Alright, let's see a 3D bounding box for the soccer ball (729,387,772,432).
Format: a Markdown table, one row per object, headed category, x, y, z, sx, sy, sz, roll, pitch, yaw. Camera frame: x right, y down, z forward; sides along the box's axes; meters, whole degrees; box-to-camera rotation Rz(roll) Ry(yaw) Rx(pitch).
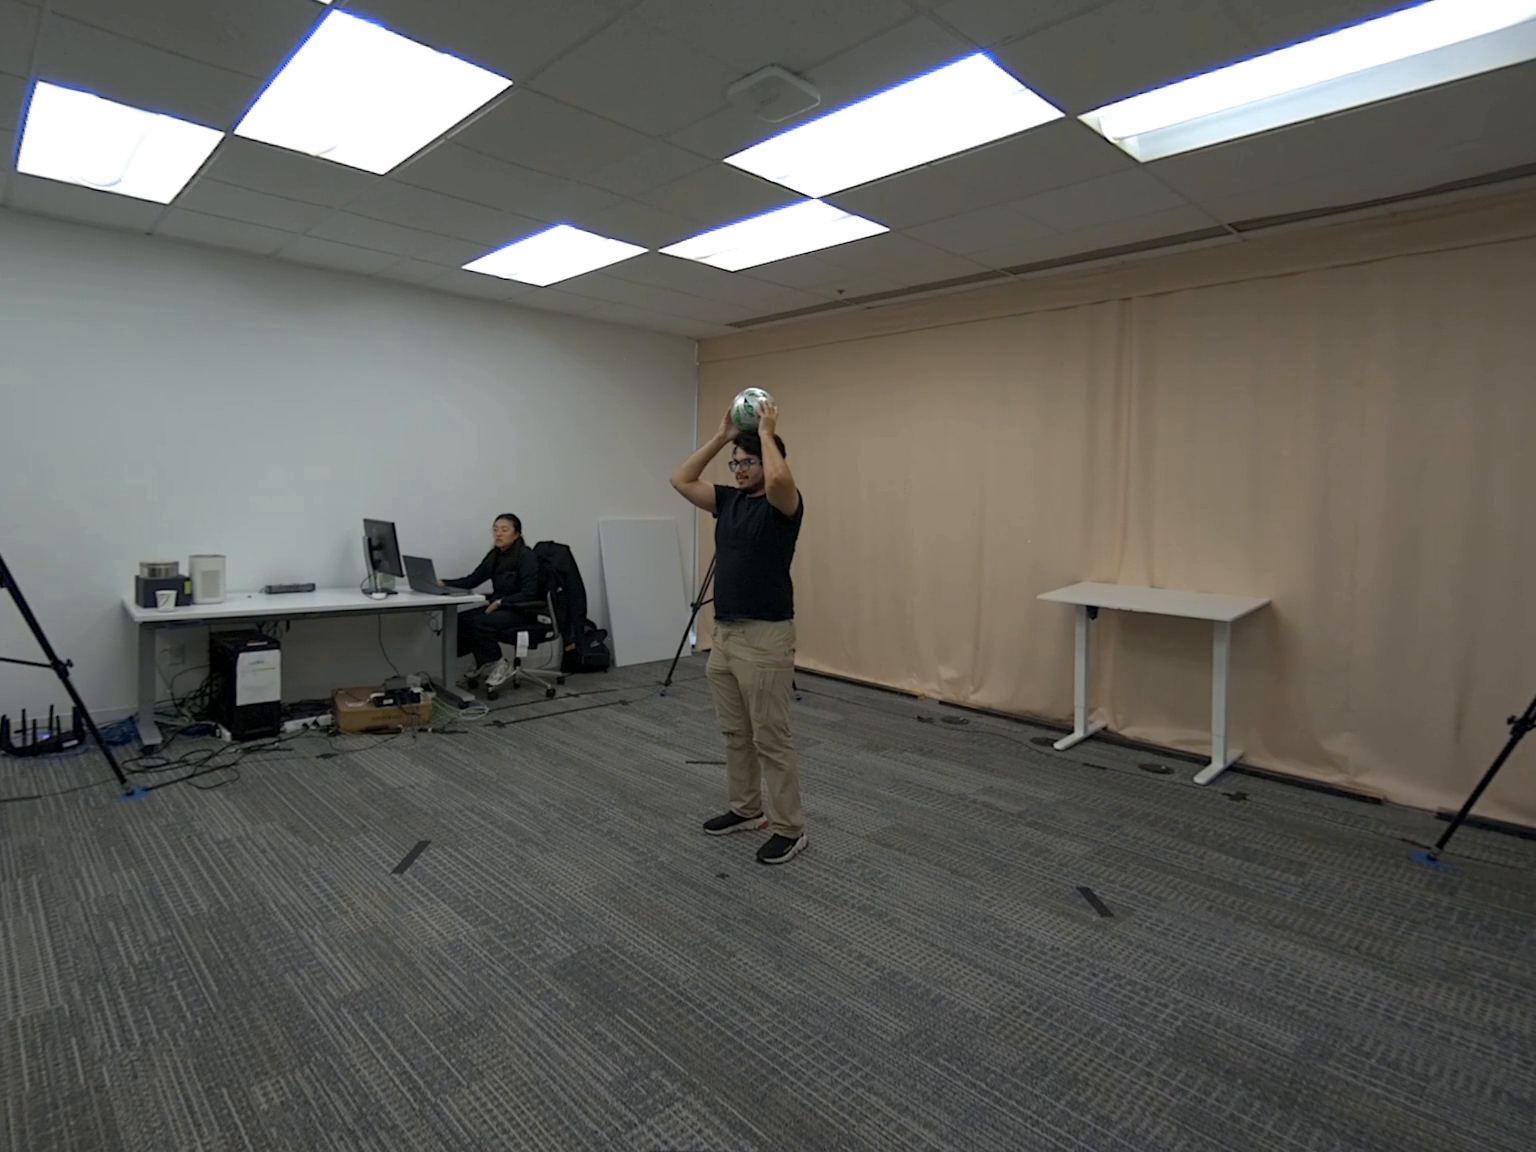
| category | x | y | z | sx | sy | sz | roll | pitch | yaw |
| --- | --- | --- | --- | --- | --- | --- | --- | --- | --- |
| soccer ball | -0.064 | -0.656 | 3.374 | 0.187 | 0.187 | 0.188 | 1 | 4 | -1 |
